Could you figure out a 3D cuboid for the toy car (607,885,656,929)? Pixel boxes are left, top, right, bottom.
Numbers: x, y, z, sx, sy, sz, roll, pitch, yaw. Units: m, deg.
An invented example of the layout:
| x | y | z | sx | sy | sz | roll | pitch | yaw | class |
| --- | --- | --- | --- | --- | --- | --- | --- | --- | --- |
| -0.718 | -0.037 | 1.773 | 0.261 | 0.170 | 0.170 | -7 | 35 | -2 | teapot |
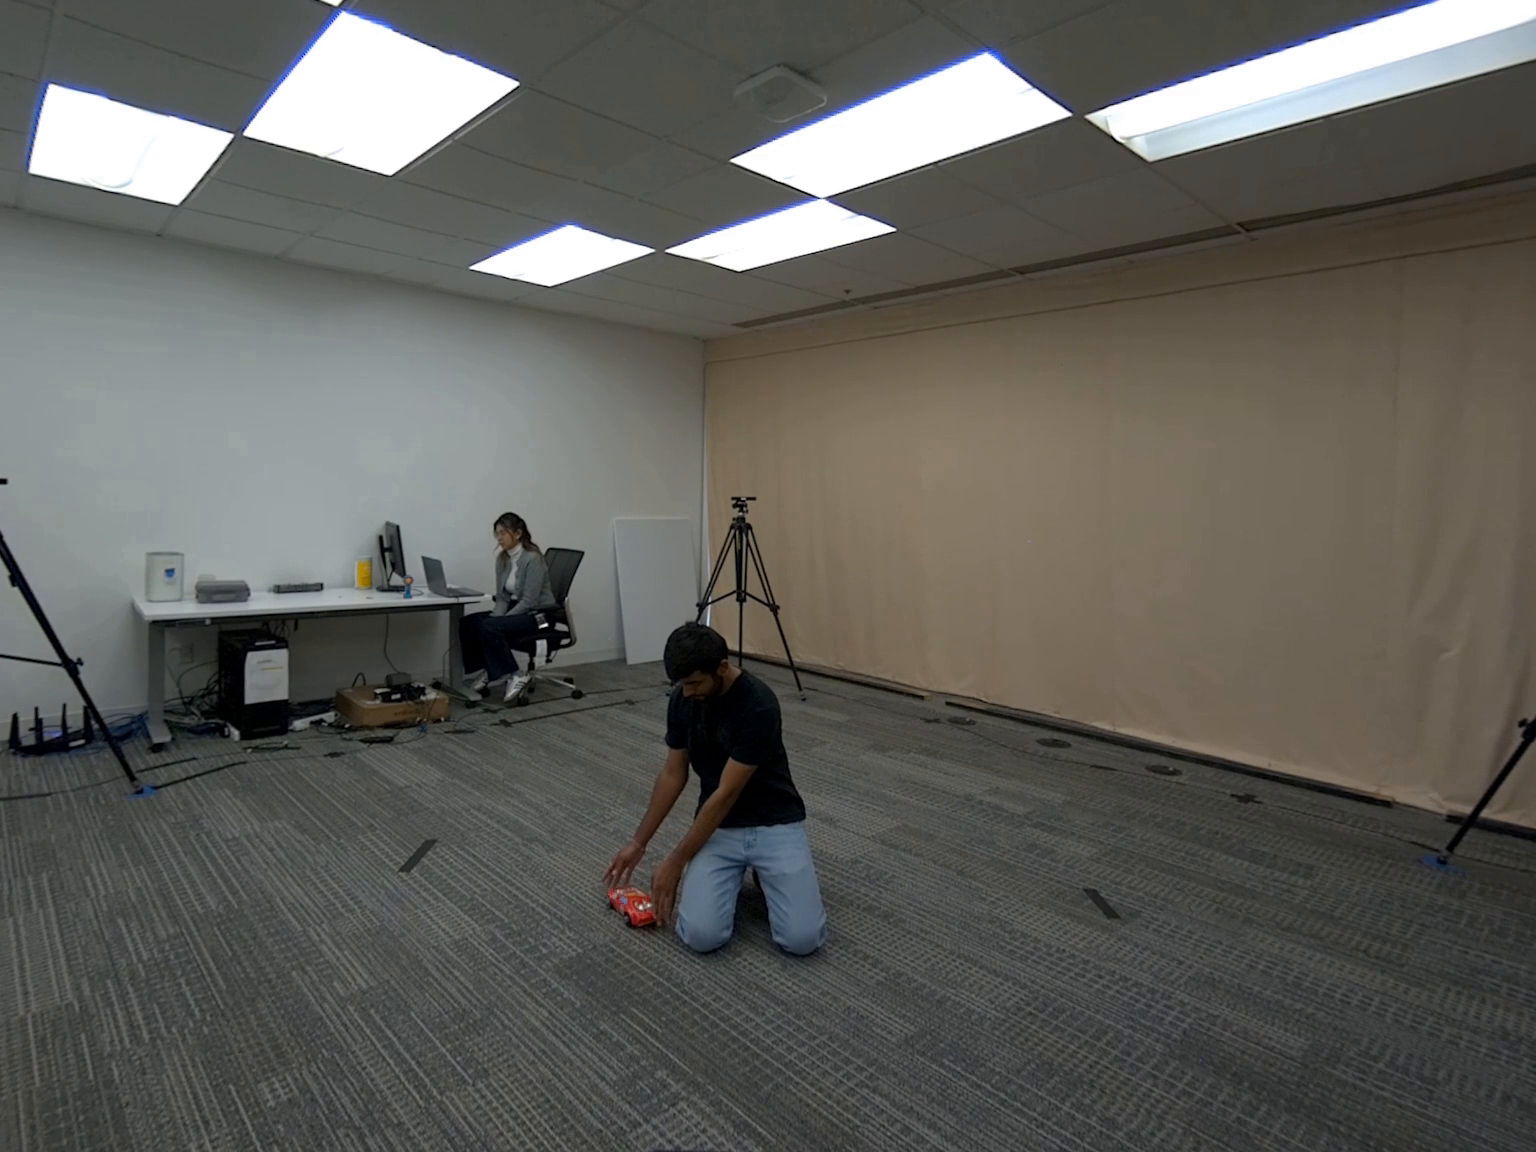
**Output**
| x | y | z | sx | sy | sz | roll | pitch | yaw | class |
| --- | --- | --- | --- | --- | --- | --- | --- | --- | --- |
| -0.443 | 1.092 | 2.787 | 0.127 | 0.083 | 0.259 | -2 | -6 | -34 | toy car |
